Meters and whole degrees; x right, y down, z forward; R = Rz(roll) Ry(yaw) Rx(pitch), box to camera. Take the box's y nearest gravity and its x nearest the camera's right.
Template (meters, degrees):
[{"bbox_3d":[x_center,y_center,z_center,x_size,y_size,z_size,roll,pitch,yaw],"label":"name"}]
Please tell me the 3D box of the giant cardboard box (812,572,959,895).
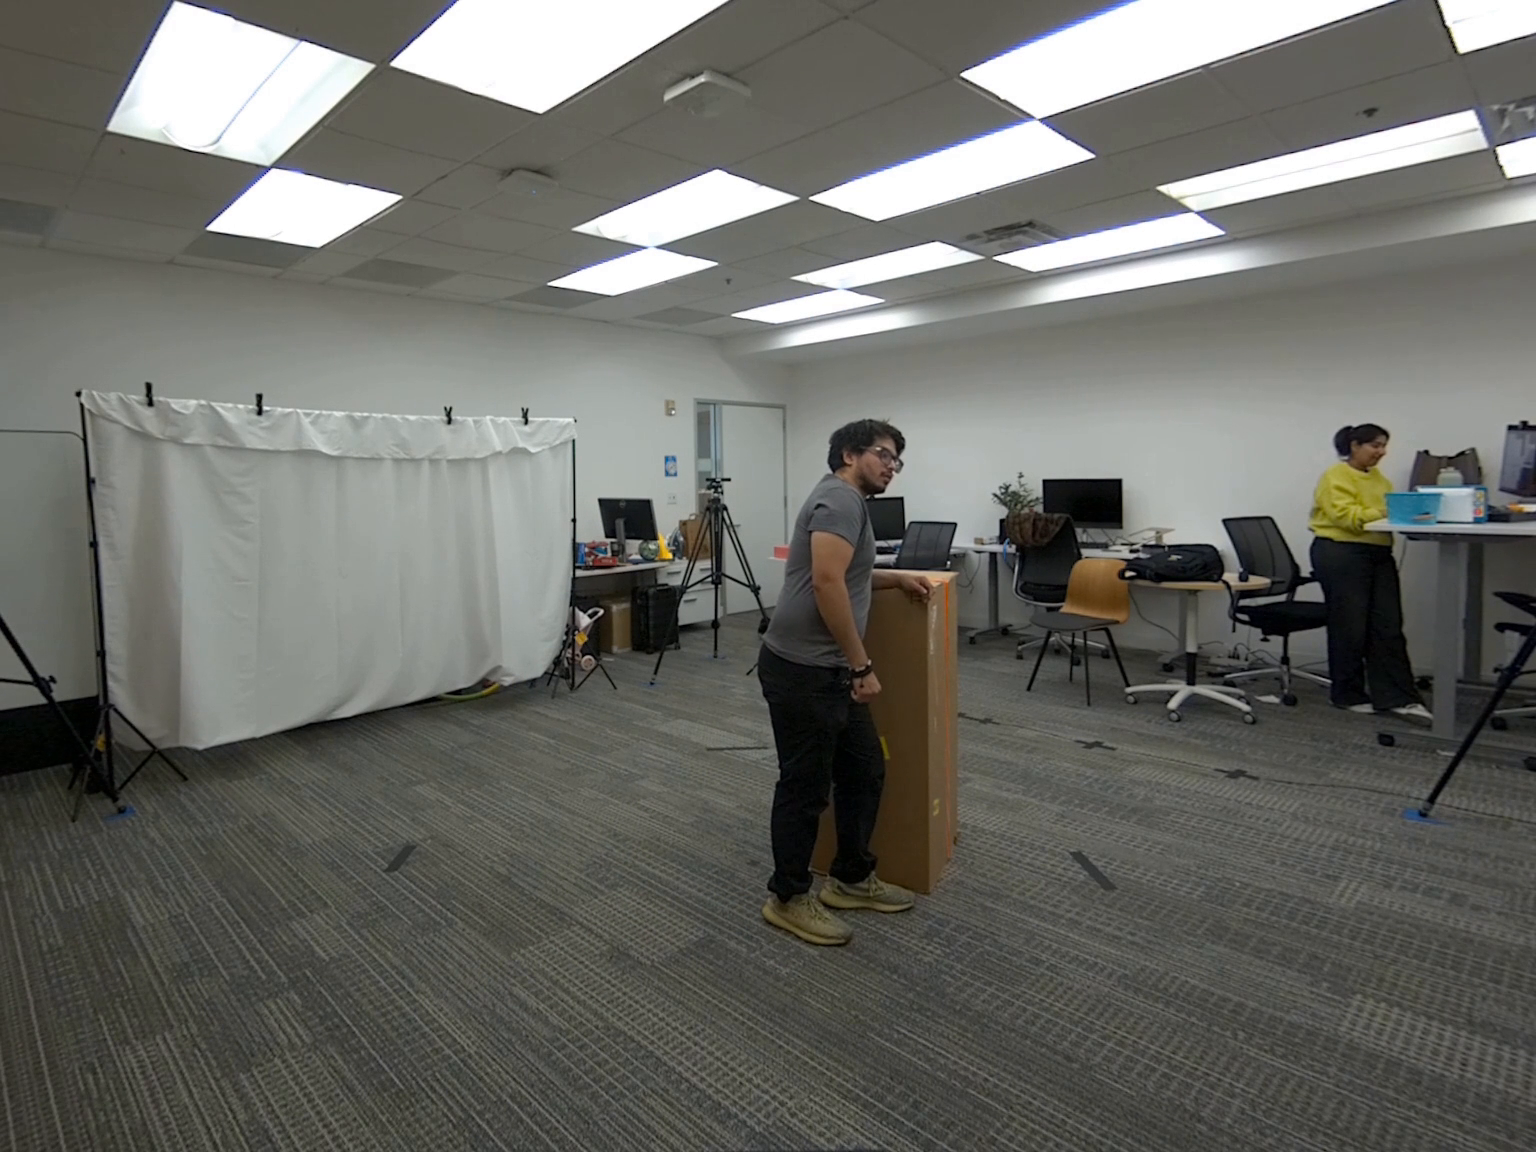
[{"bbox_3d":[0.454,0.519,3.169,0.436,1.022,0.566,1,4,24],"label":"giant cardboard box"}]
